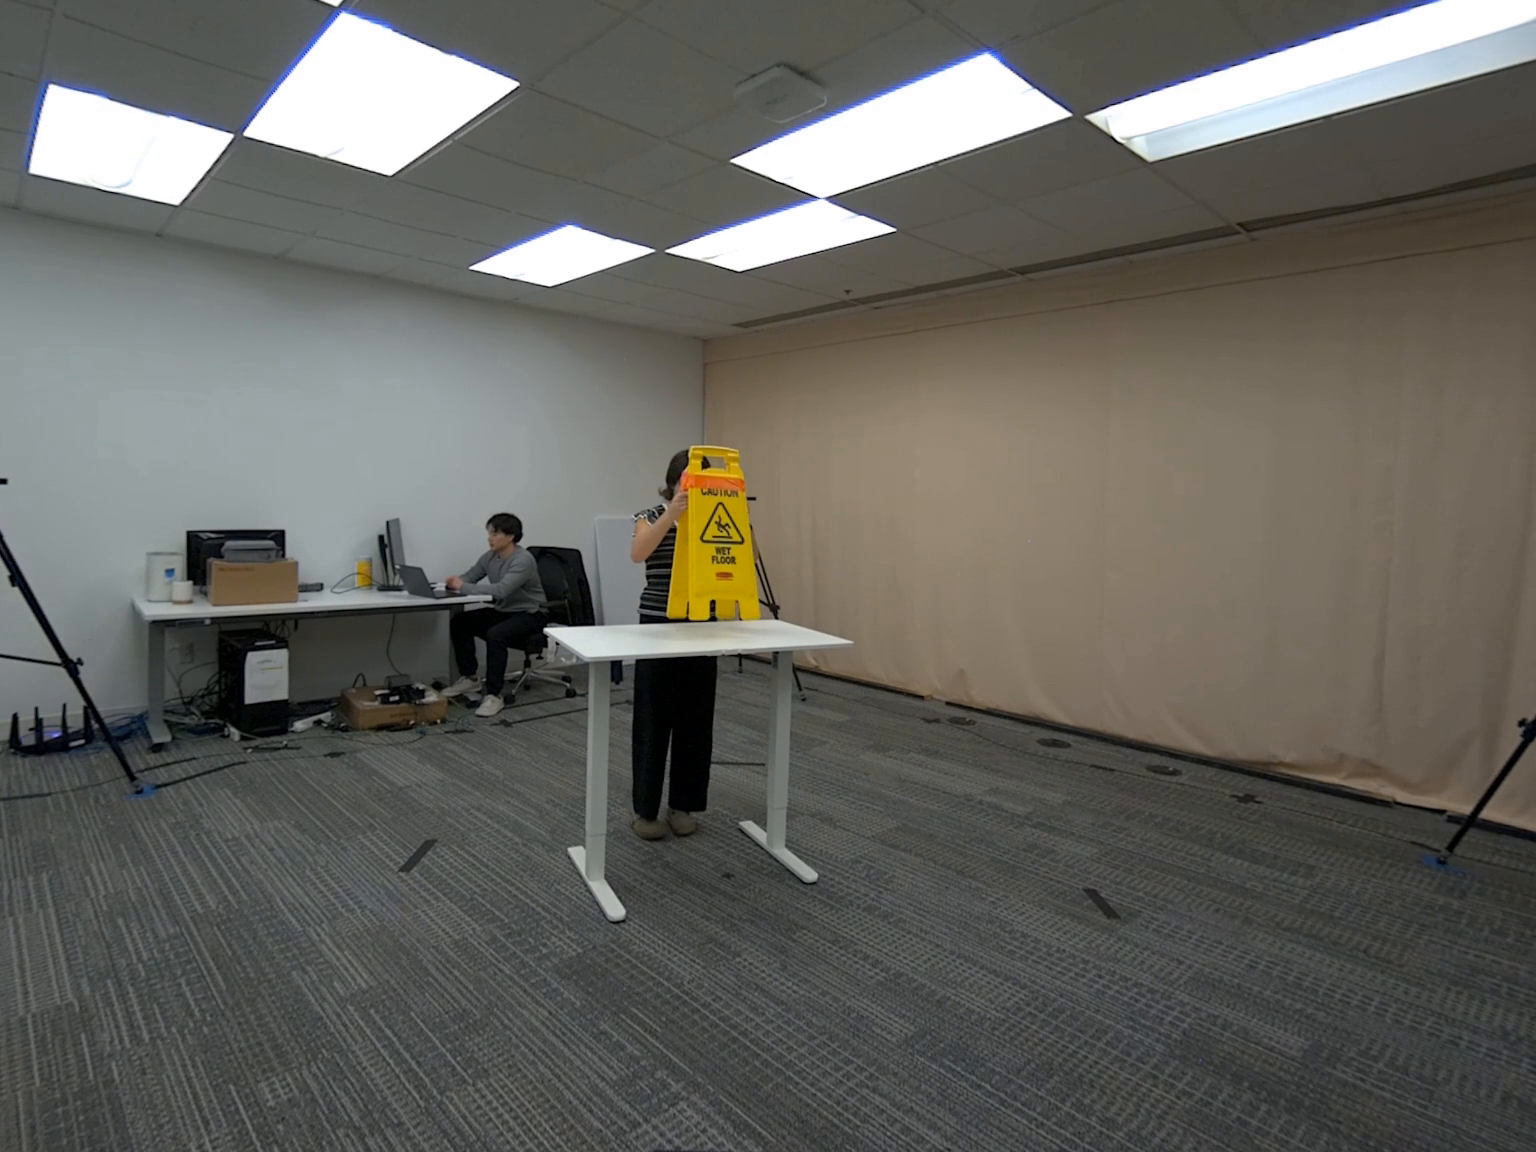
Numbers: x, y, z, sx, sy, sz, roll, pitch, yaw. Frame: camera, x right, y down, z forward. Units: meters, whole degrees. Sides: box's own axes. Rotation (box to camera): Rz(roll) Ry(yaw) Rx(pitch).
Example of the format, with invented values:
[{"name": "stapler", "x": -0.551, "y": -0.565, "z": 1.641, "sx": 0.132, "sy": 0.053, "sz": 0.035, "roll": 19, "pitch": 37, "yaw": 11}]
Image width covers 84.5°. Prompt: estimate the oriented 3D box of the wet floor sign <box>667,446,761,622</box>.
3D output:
[{"name": "wet floor sign", "x": -0.213, "y": -0.162, "z": 3.184, "sx": 0.277, "sy": 0.647, "sz": 0.294, "roll": 2, "pitch": -3, "yaw": -24}]
